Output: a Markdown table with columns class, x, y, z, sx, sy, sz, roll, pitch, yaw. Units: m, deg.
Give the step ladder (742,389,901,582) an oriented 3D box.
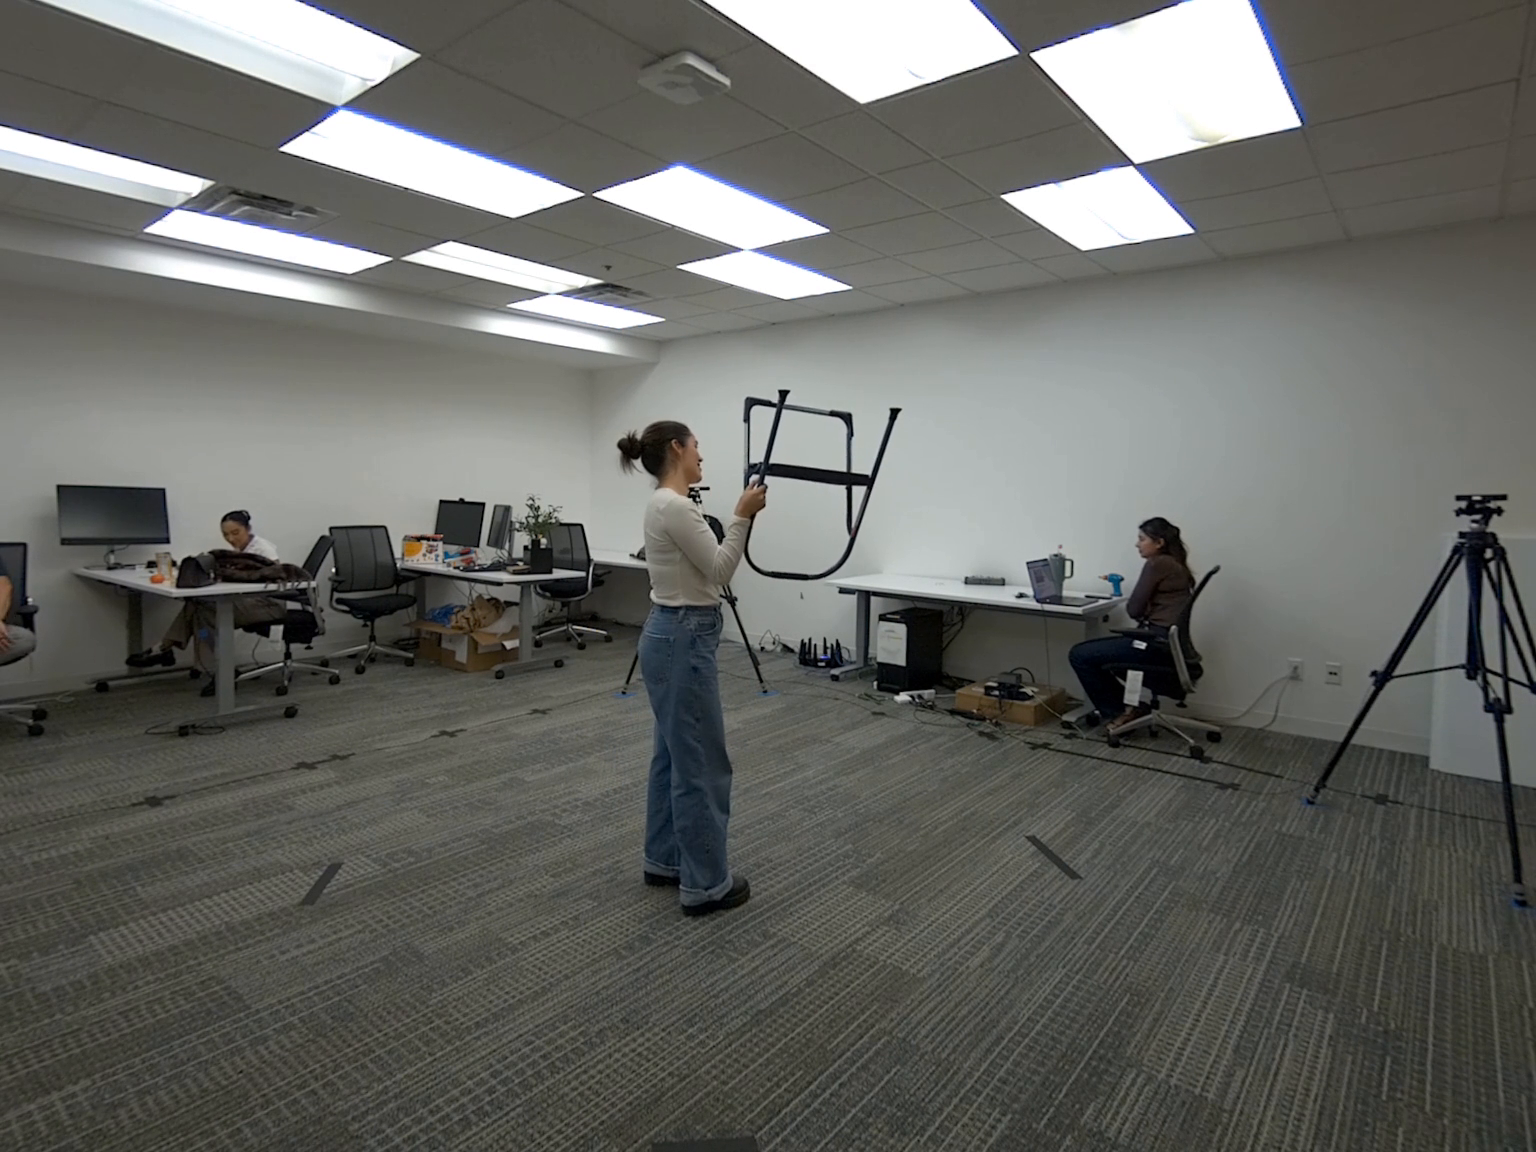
| class | x | y | z | sx | sy | sz | roll | pitch | yaw |
| --- | --- | --- | --- | --- | --- | --- | --- | --- | --- |
| step ladder | 0.126 | -0.286 | 2.838 | 0.421 | 0.604 | 0.358 | 6 | 5 | -21 |
